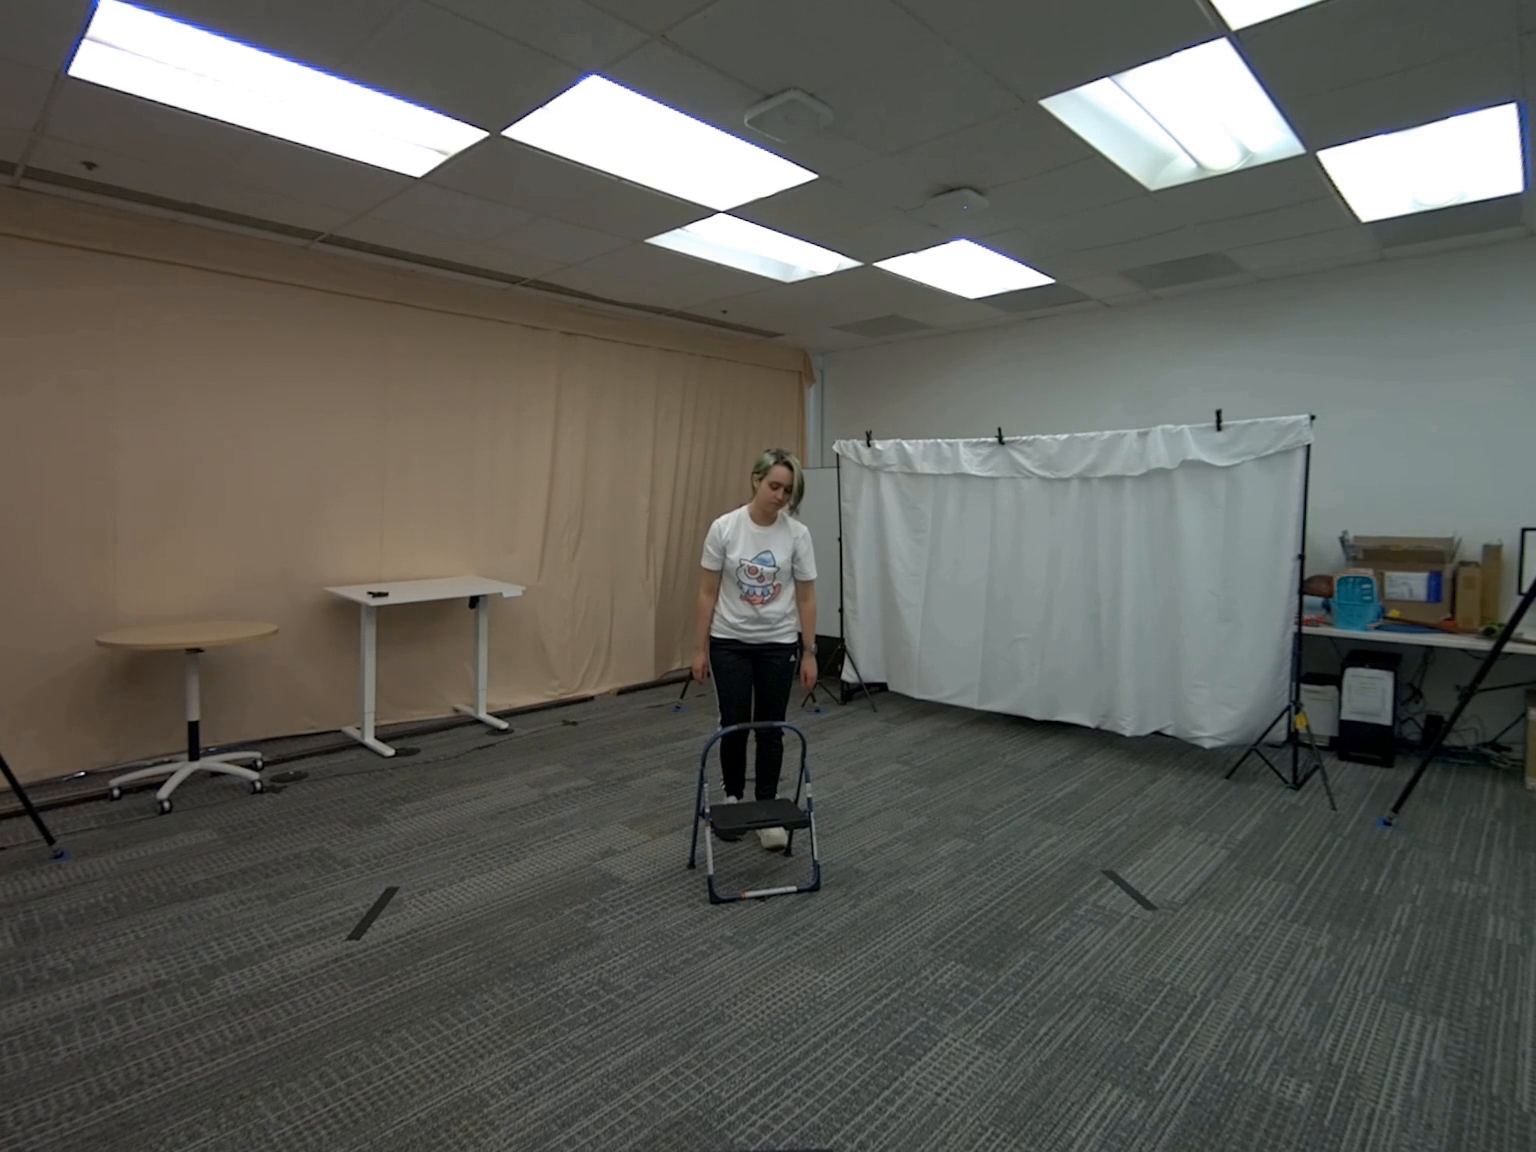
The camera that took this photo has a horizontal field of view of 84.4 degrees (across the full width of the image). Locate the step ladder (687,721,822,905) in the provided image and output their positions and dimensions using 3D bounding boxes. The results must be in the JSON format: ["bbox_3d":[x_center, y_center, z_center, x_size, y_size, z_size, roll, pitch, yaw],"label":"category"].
[{"bbox_3d":[-0.057,0.831,3.136,0.423,0.604,0.356,-2,4,-17],"label":"step ladder"}]
